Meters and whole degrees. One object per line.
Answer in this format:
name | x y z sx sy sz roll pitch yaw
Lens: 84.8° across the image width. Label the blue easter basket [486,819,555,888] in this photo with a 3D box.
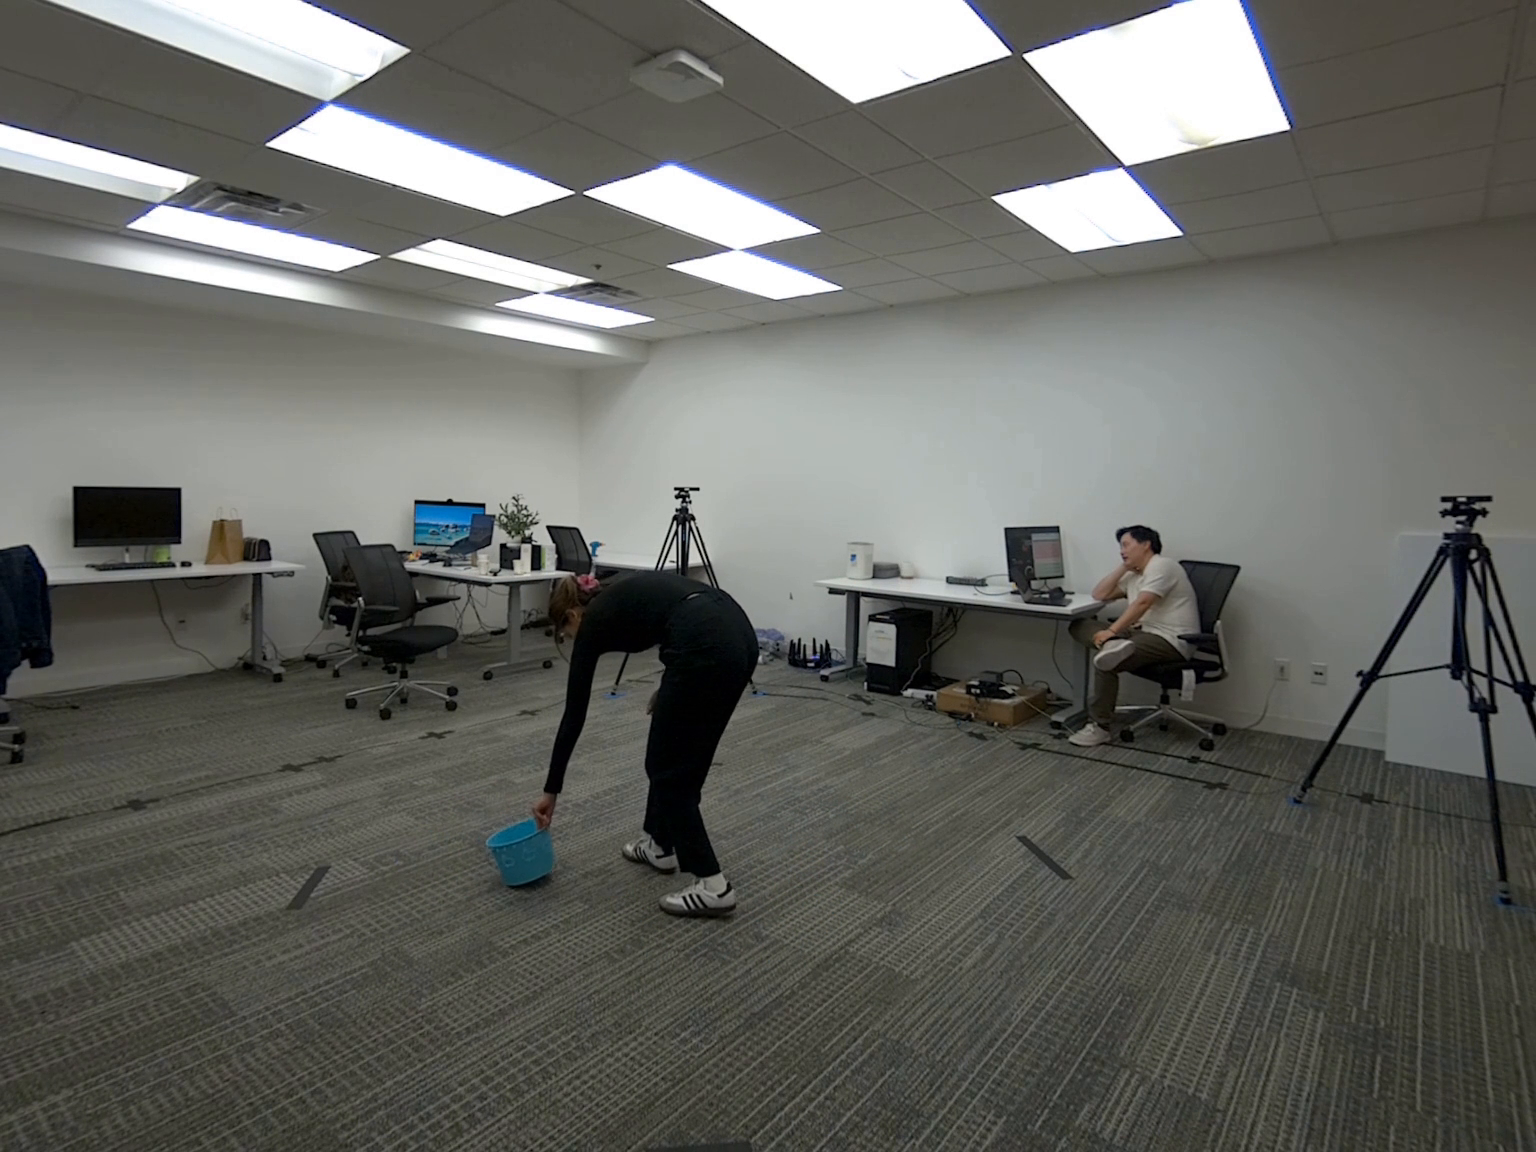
blue easter basket | -0.875 0.971 2.996 0.243 0.155 0.244 -15 3 -1
